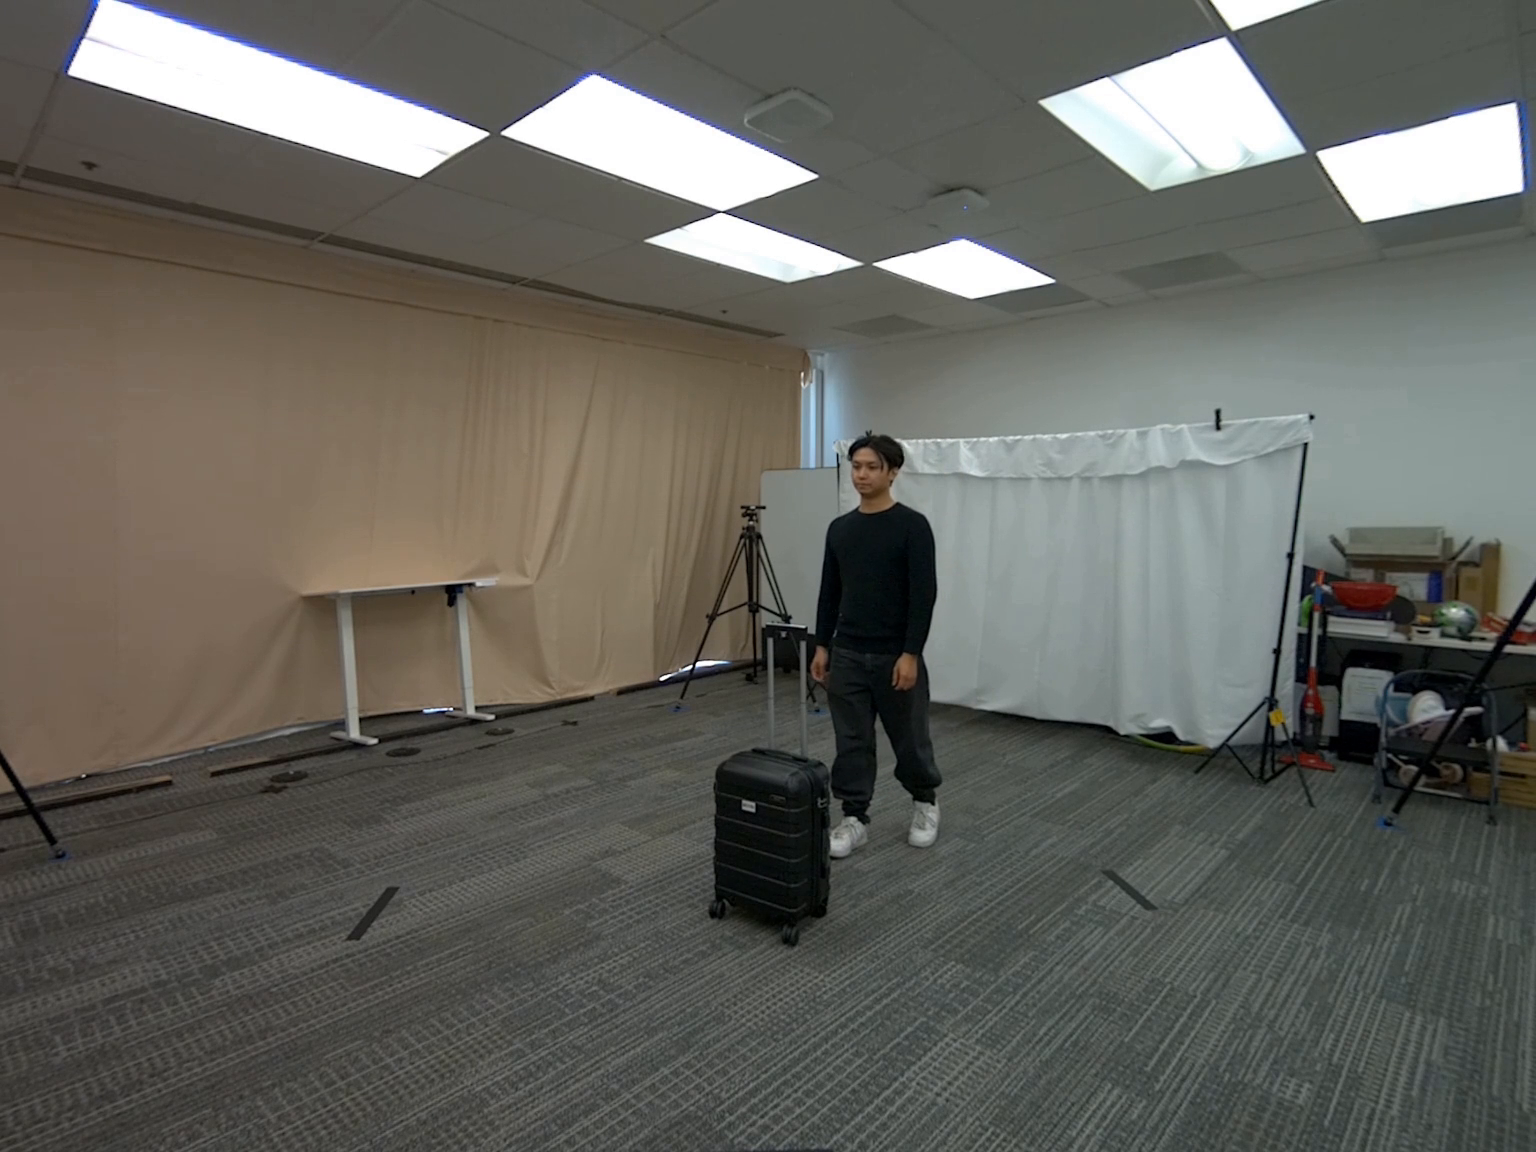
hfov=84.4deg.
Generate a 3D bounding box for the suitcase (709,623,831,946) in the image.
[{"bbox_3d":[0.011,0.677,2.834,0.396,0.976,0.250,2,4,34],"label":"suitcase"}]
